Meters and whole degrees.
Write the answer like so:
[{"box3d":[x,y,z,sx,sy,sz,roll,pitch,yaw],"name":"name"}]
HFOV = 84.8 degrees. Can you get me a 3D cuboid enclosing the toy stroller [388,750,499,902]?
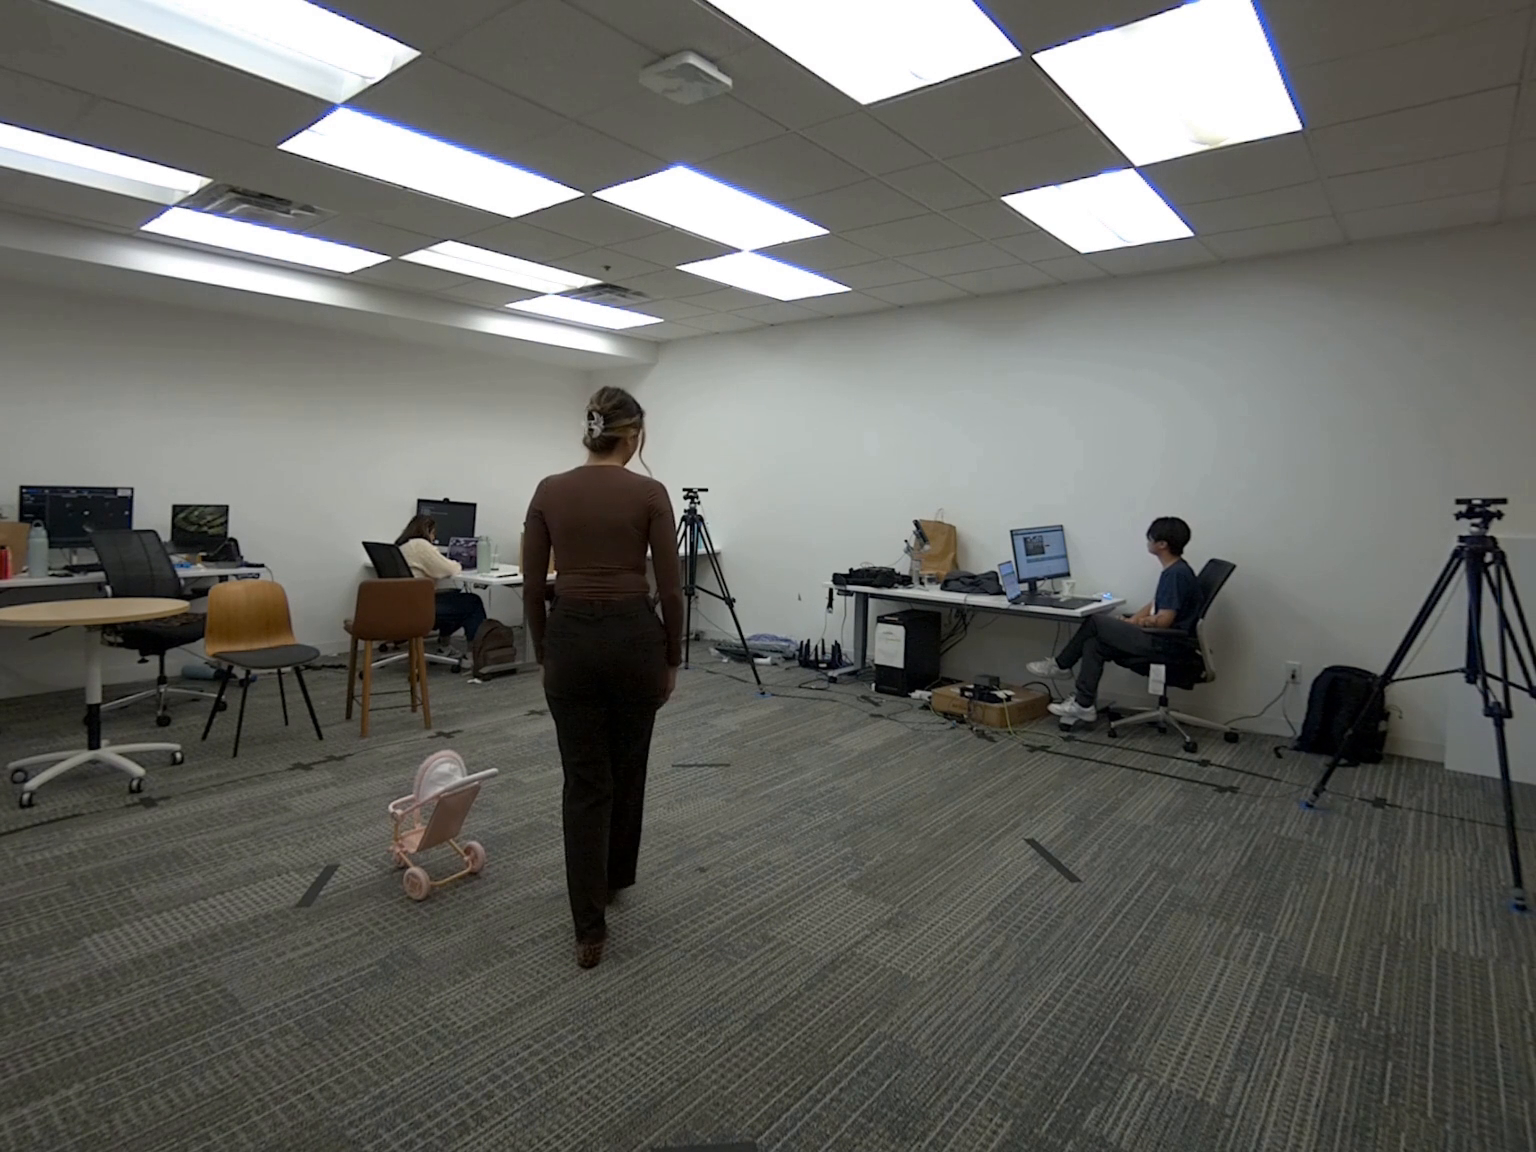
[{"box3d":[-1.179,0.846,2.975,0.354,0.530,0.273,24,15,32],"name":"toy stroller"}]
